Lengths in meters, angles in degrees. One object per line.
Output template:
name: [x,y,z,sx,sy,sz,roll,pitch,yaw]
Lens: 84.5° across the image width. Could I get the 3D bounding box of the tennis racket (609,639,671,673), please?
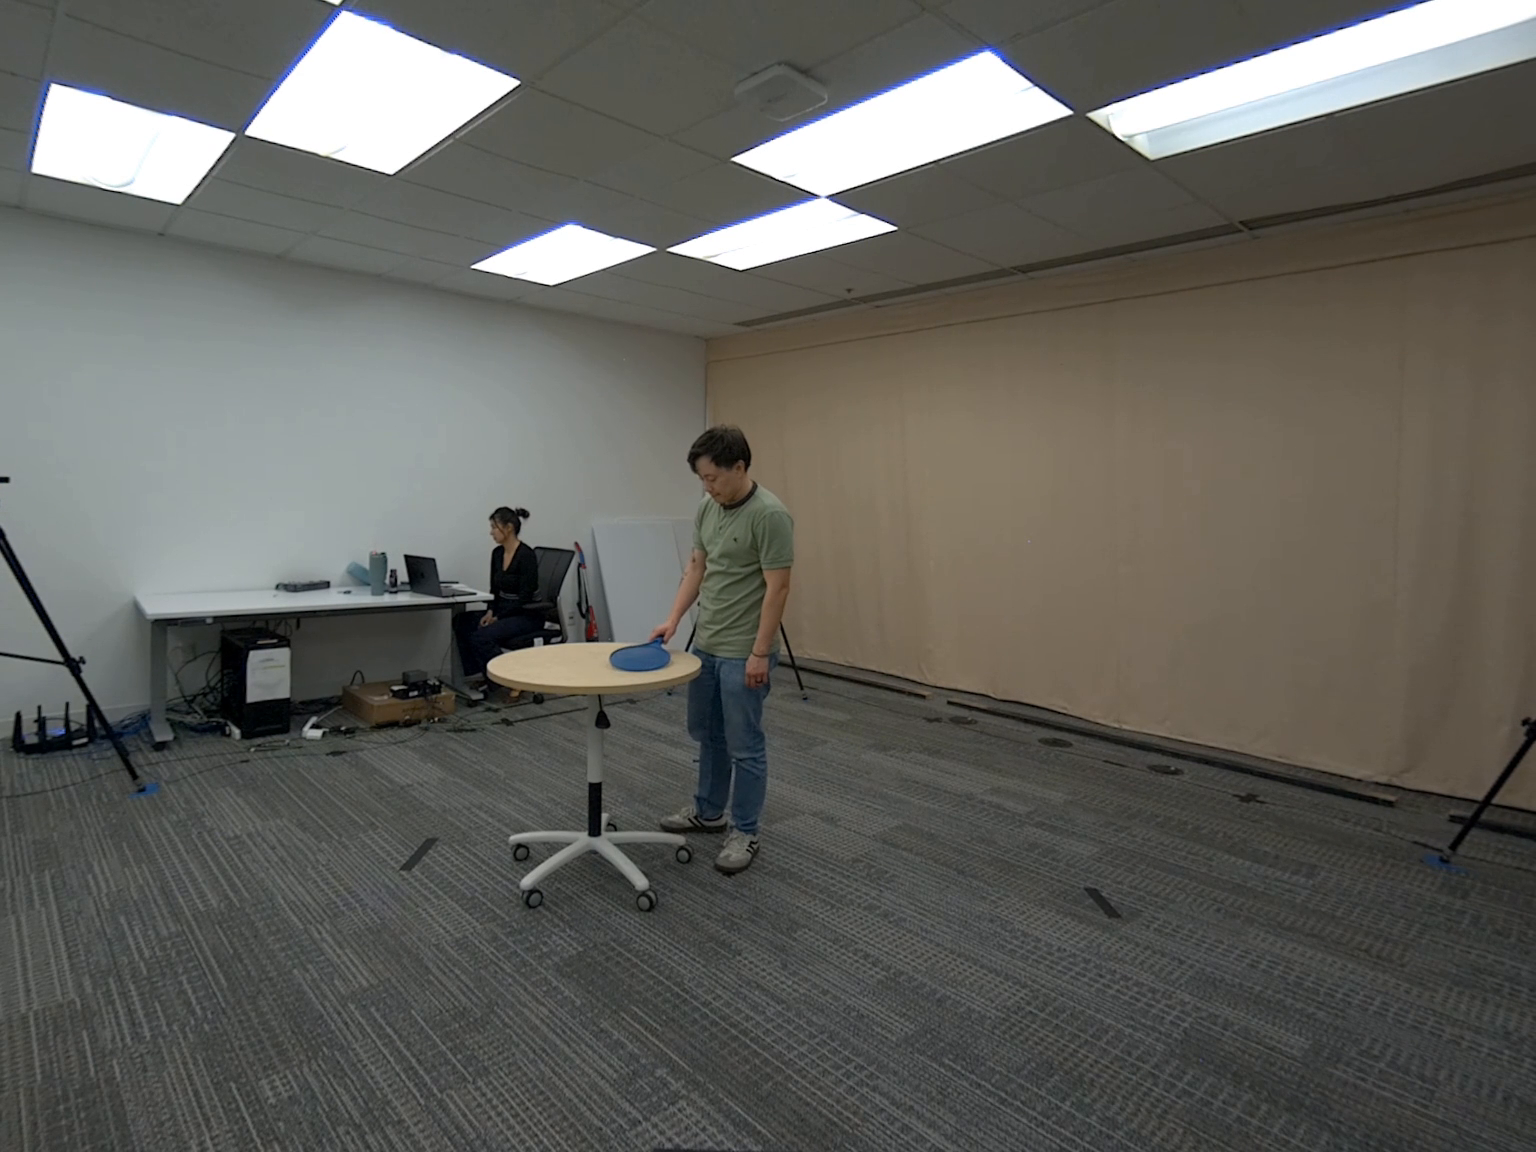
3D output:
tennis racket: [-0.431,0.275,3.095,0.216,0.031,0.431,6,13,14]
